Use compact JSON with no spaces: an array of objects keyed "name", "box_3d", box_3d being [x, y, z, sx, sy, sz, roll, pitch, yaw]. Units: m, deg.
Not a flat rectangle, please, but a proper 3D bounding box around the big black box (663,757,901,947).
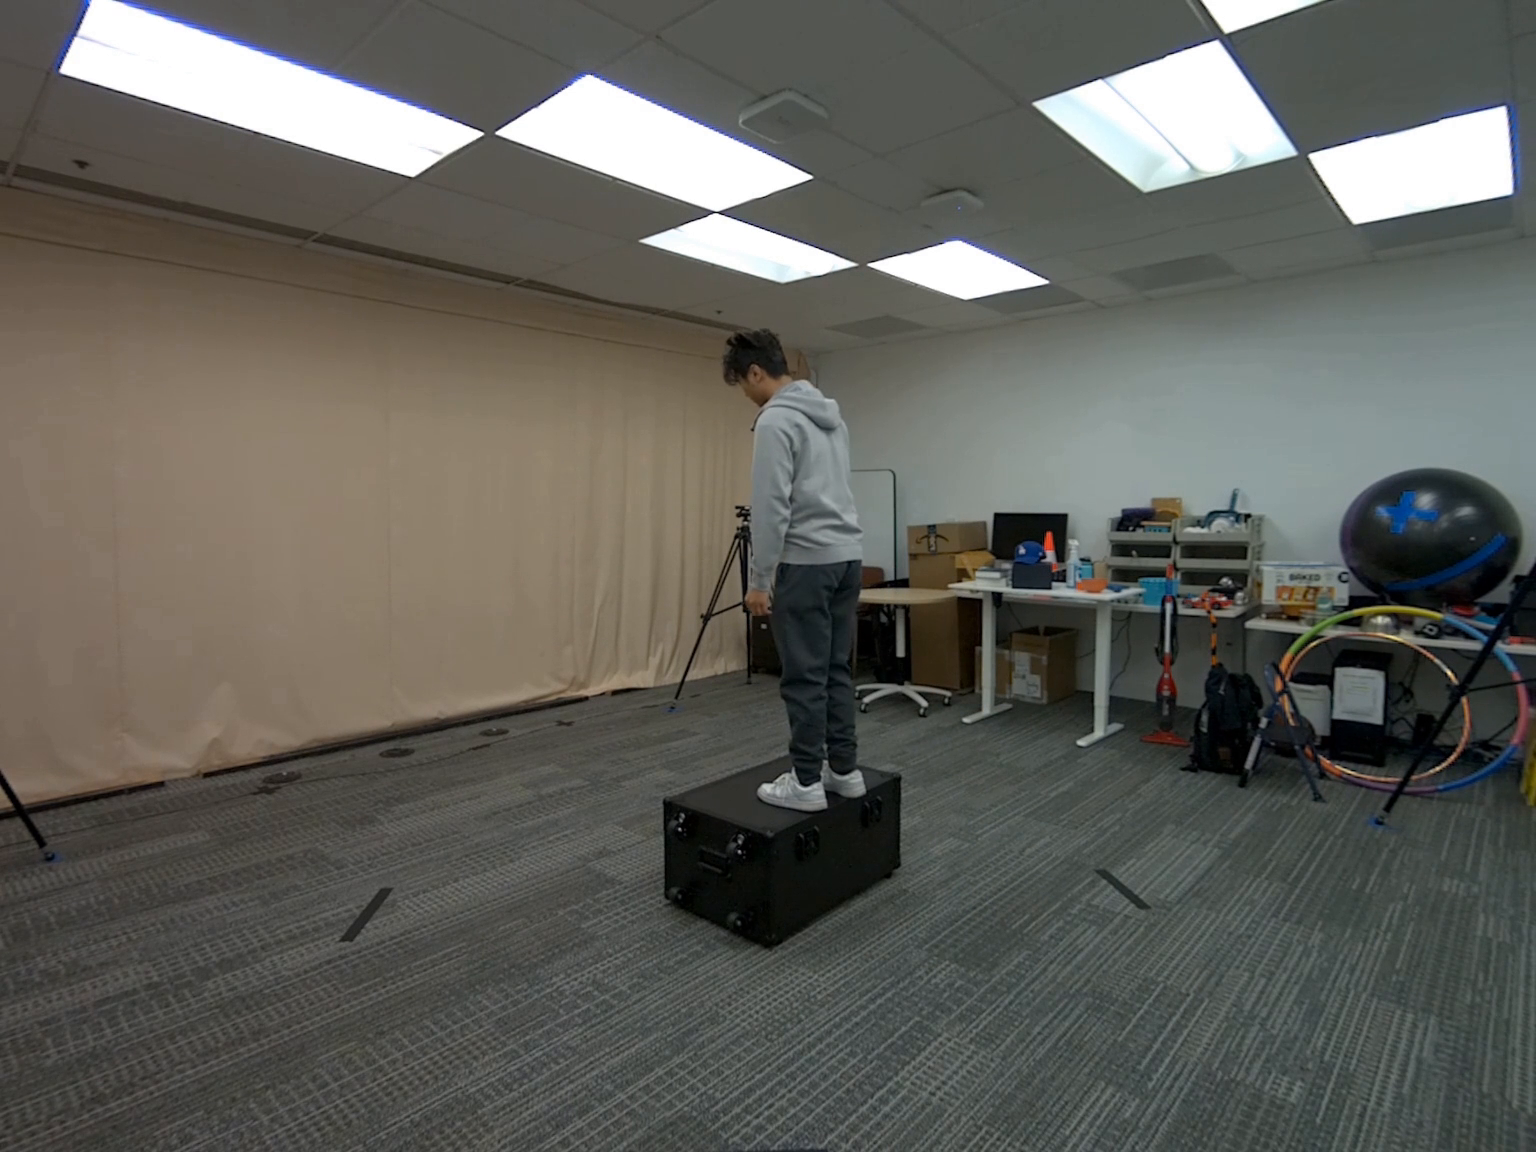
[{"name":"big black box","box_3d":[0.050,0.950,3.035,0.538,0.395,0.835,3,5,41]}]
